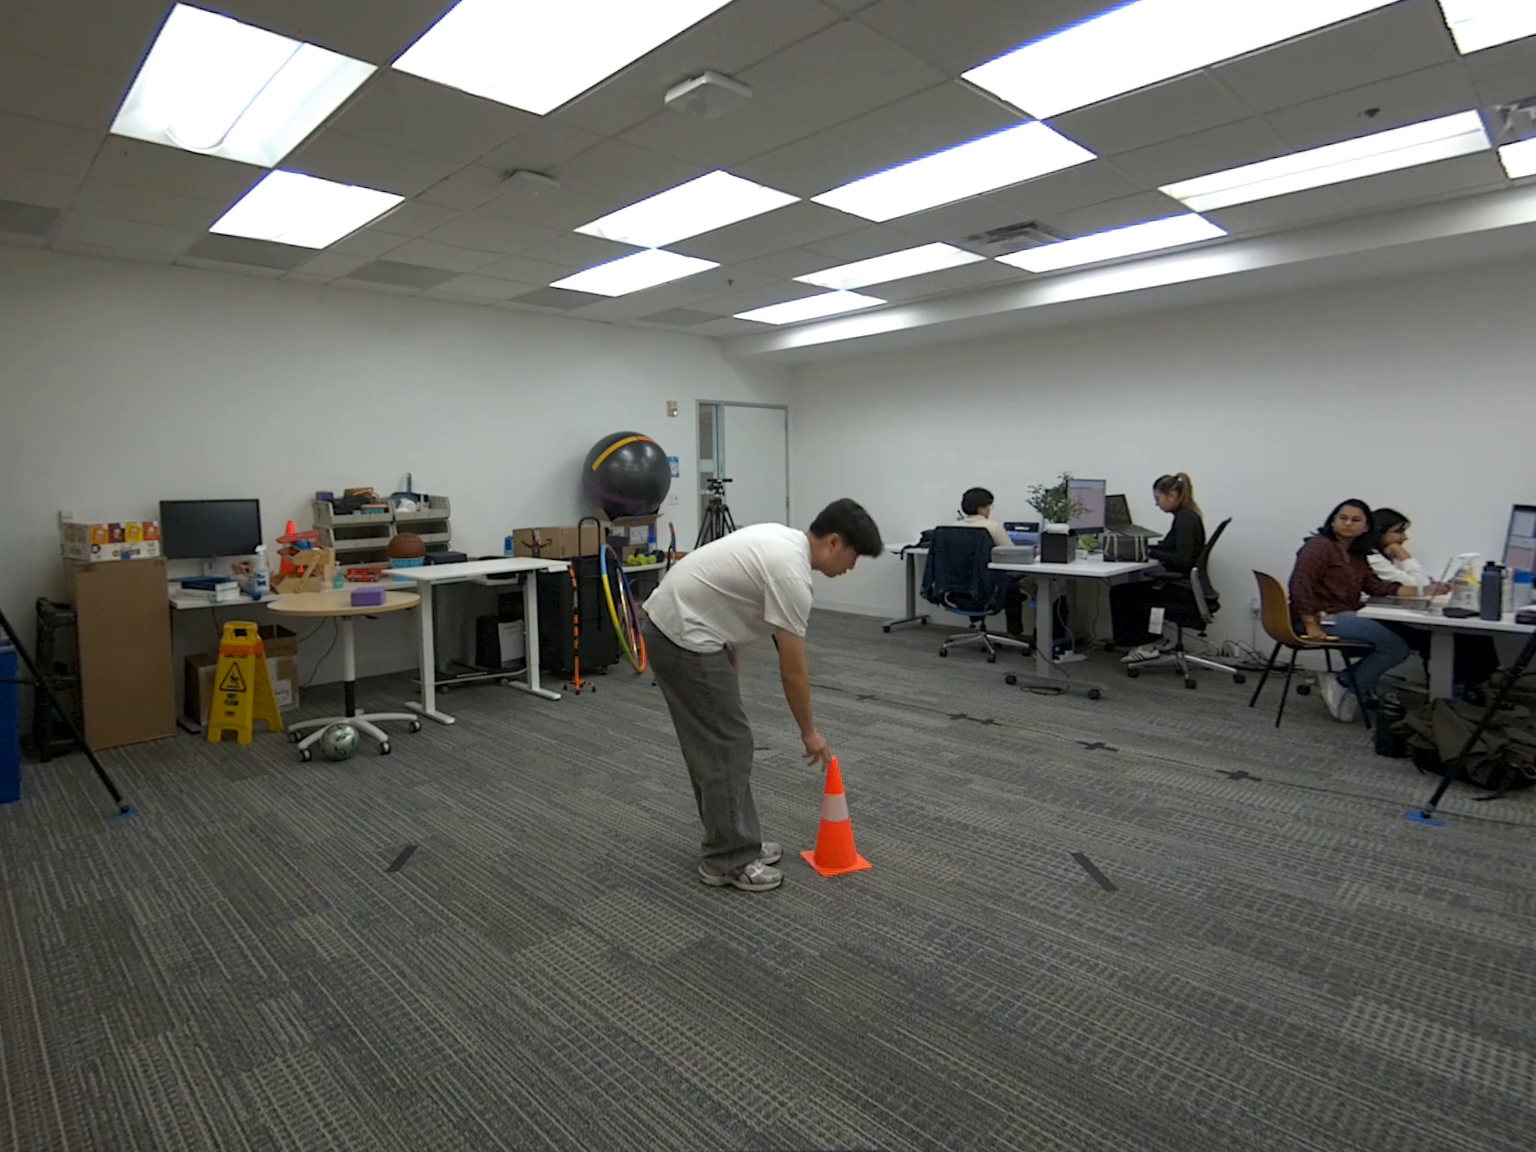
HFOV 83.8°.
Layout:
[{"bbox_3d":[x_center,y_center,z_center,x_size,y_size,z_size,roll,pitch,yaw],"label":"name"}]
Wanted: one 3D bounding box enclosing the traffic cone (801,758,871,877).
[{"bbox_3d":[0.231,0.851,3.106,0.201,0.382,0.208,-6,5,-21],"label":"traffic cone"}]
